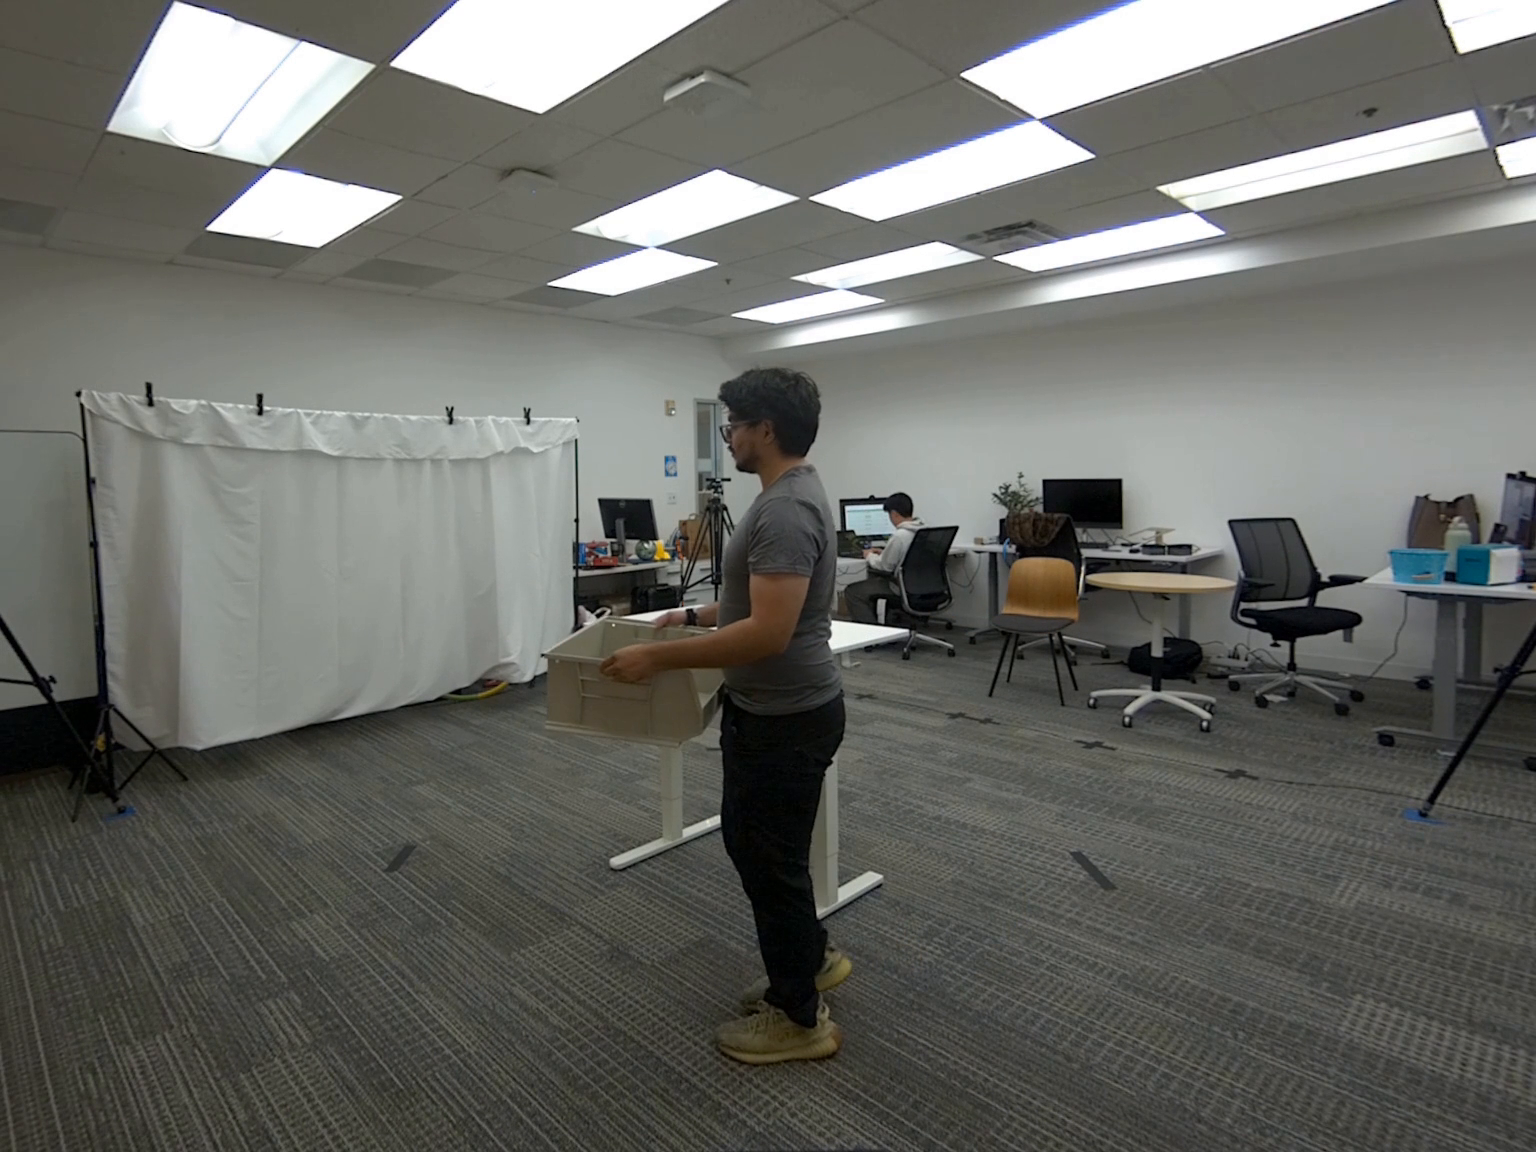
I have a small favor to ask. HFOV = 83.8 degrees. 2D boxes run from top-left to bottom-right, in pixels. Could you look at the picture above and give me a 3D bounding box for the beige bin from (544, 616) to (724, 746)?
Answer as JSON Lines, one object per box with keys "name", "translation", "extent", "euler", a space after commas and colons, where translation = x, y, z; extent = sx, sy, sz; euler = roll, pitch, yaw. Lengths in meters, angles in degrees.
{"name": "beige bin", "translation": [-0.285, 0.249, 2.078], "extent": [0.381, 0.187, 0.421], "euler": [5, 10, 8]}
